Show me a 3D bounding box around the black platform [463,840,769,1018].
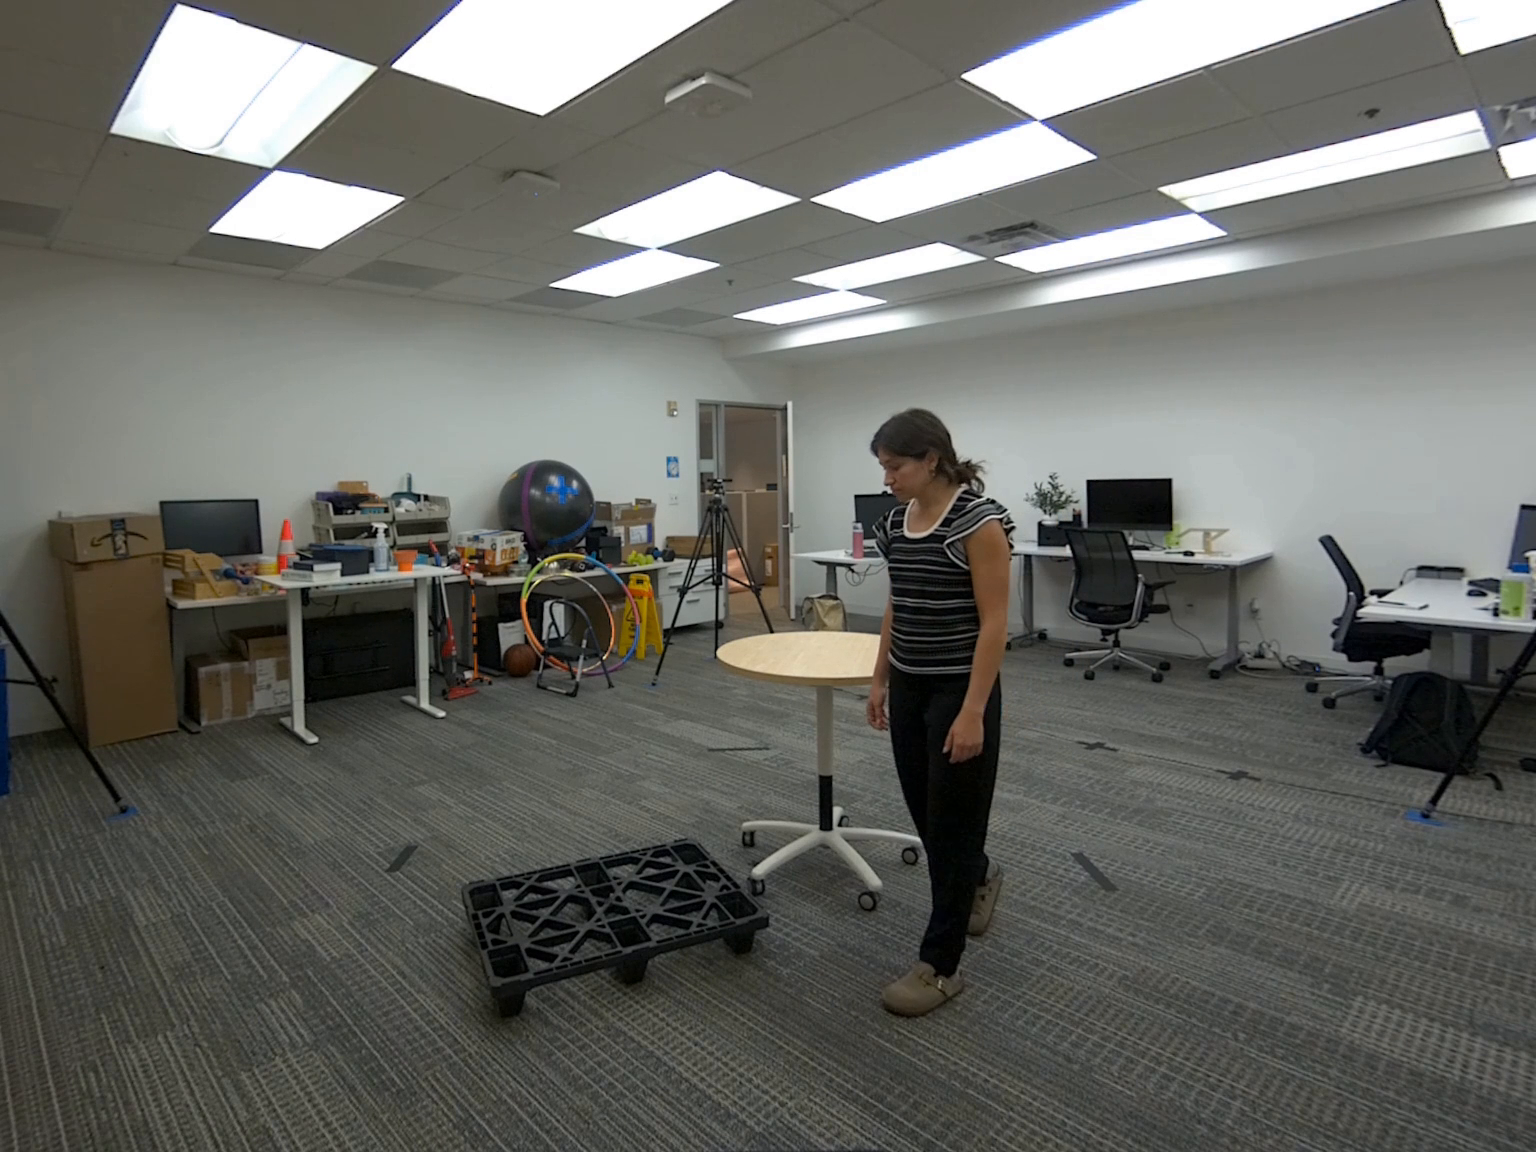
[{"bbox_3d":[-0.475,1.048,2.592,0.789,0.143,0.620,-4,7,-25],"label":"black platform"}]
